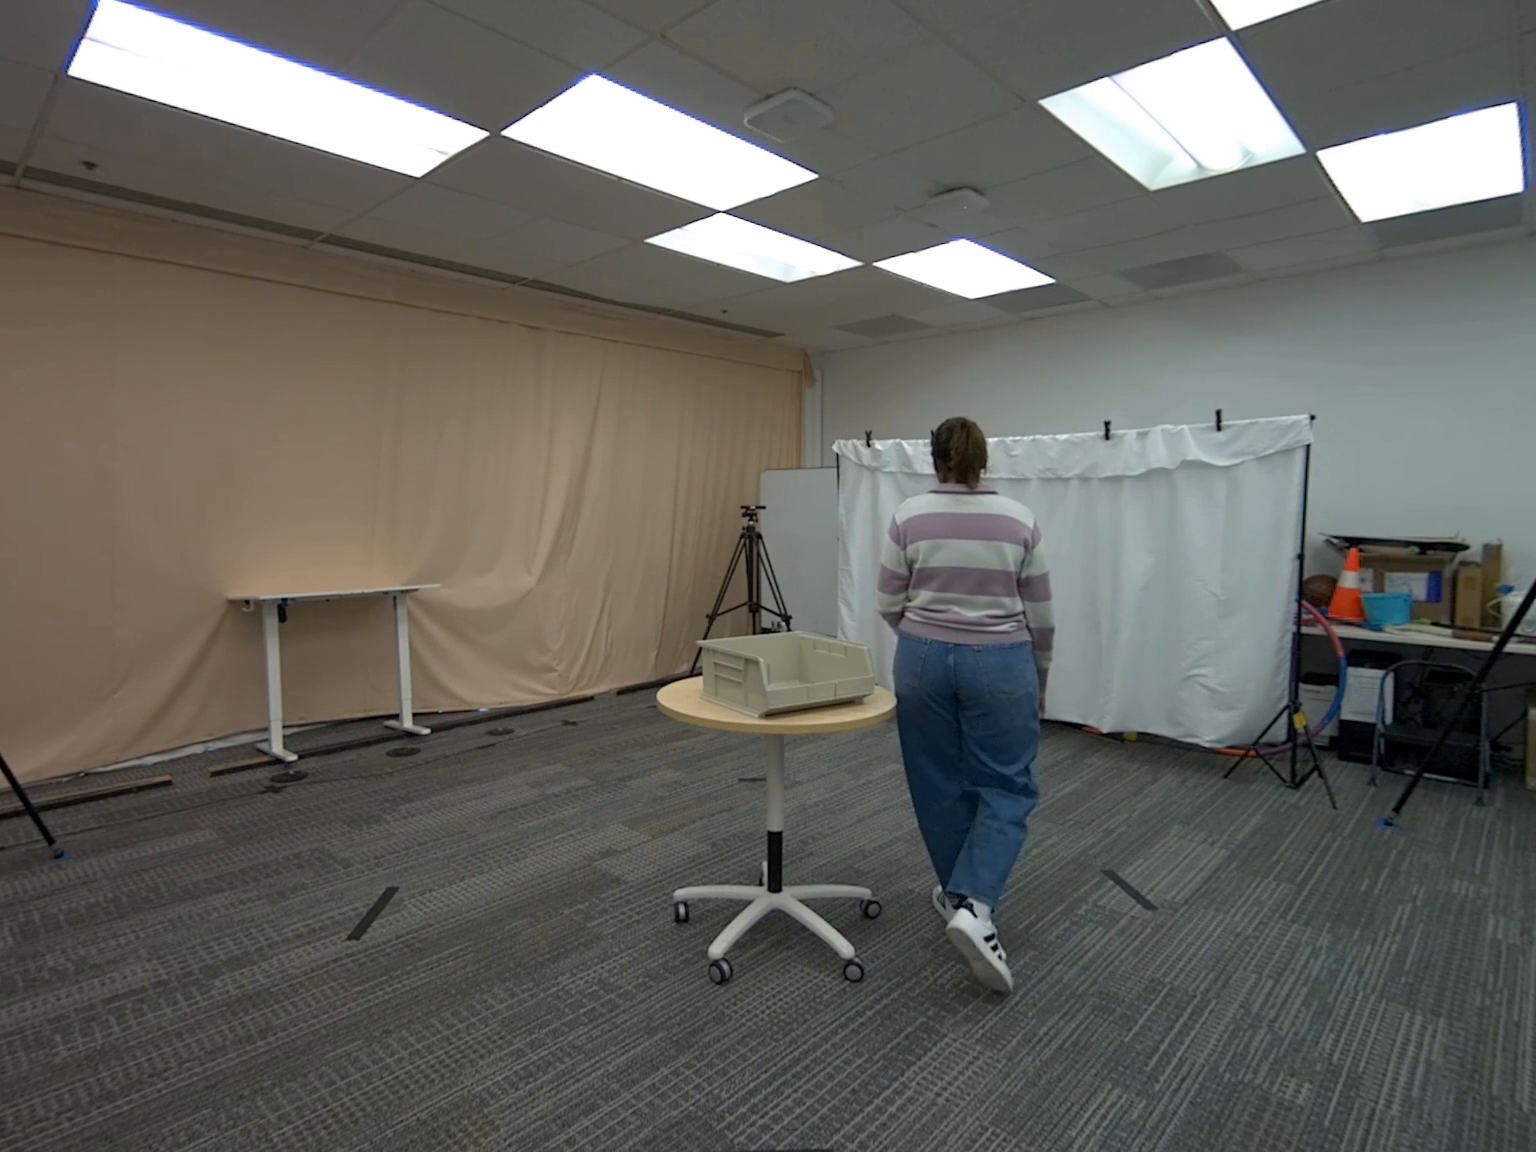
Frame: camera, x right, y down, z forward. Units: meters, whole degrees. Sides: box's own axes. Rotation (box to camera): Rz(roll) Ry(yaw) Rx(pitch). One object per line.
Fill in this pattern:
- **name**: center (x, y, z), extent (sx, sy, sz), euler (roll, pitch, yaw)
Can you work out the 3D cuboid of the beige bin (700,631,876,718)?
- **beige bin**: center (0.057, 0.304, 2.619), extent (0.410, 0.189, 0.389), euler (-3, 3, -34)
